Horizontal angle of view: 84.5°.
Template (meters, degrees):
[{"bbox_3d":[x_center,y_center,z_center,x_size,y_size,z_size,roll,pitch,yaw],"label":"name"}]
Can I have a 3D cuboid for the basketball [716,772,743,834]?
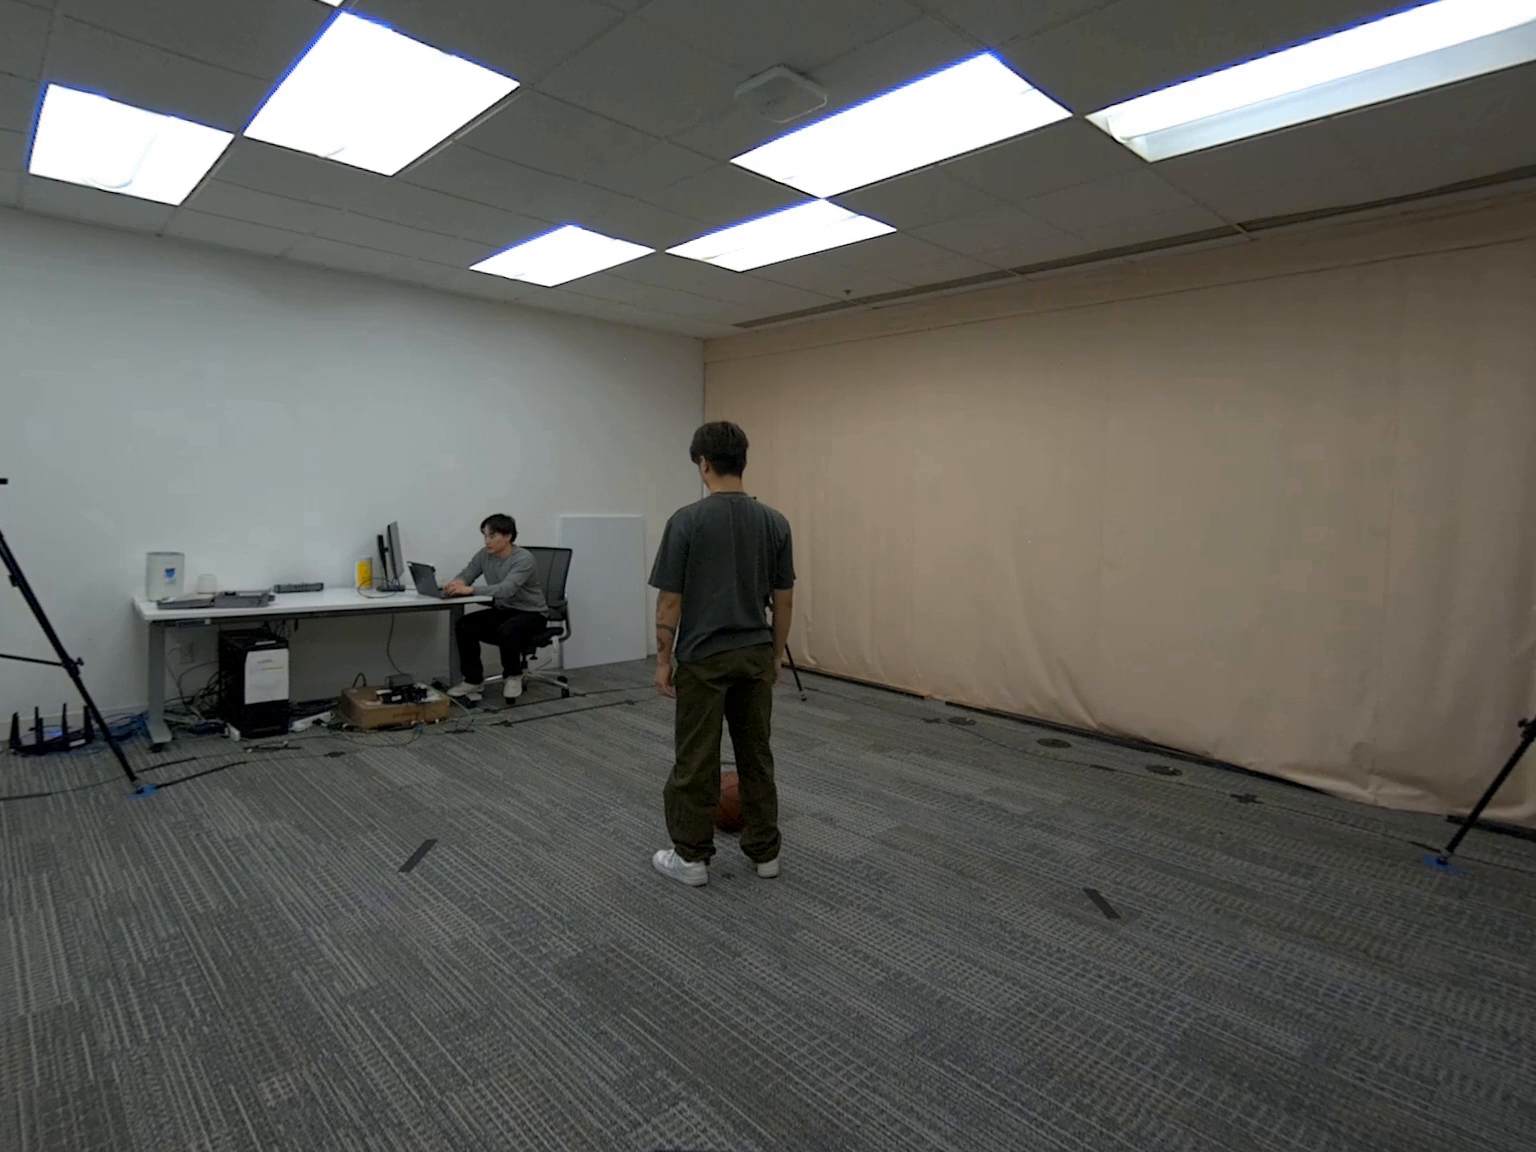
[{"bbox_3d":[-0.160,0.951,3.561,0.236,0.235,0.237,1,4,-1],"label":"basketball"}]
